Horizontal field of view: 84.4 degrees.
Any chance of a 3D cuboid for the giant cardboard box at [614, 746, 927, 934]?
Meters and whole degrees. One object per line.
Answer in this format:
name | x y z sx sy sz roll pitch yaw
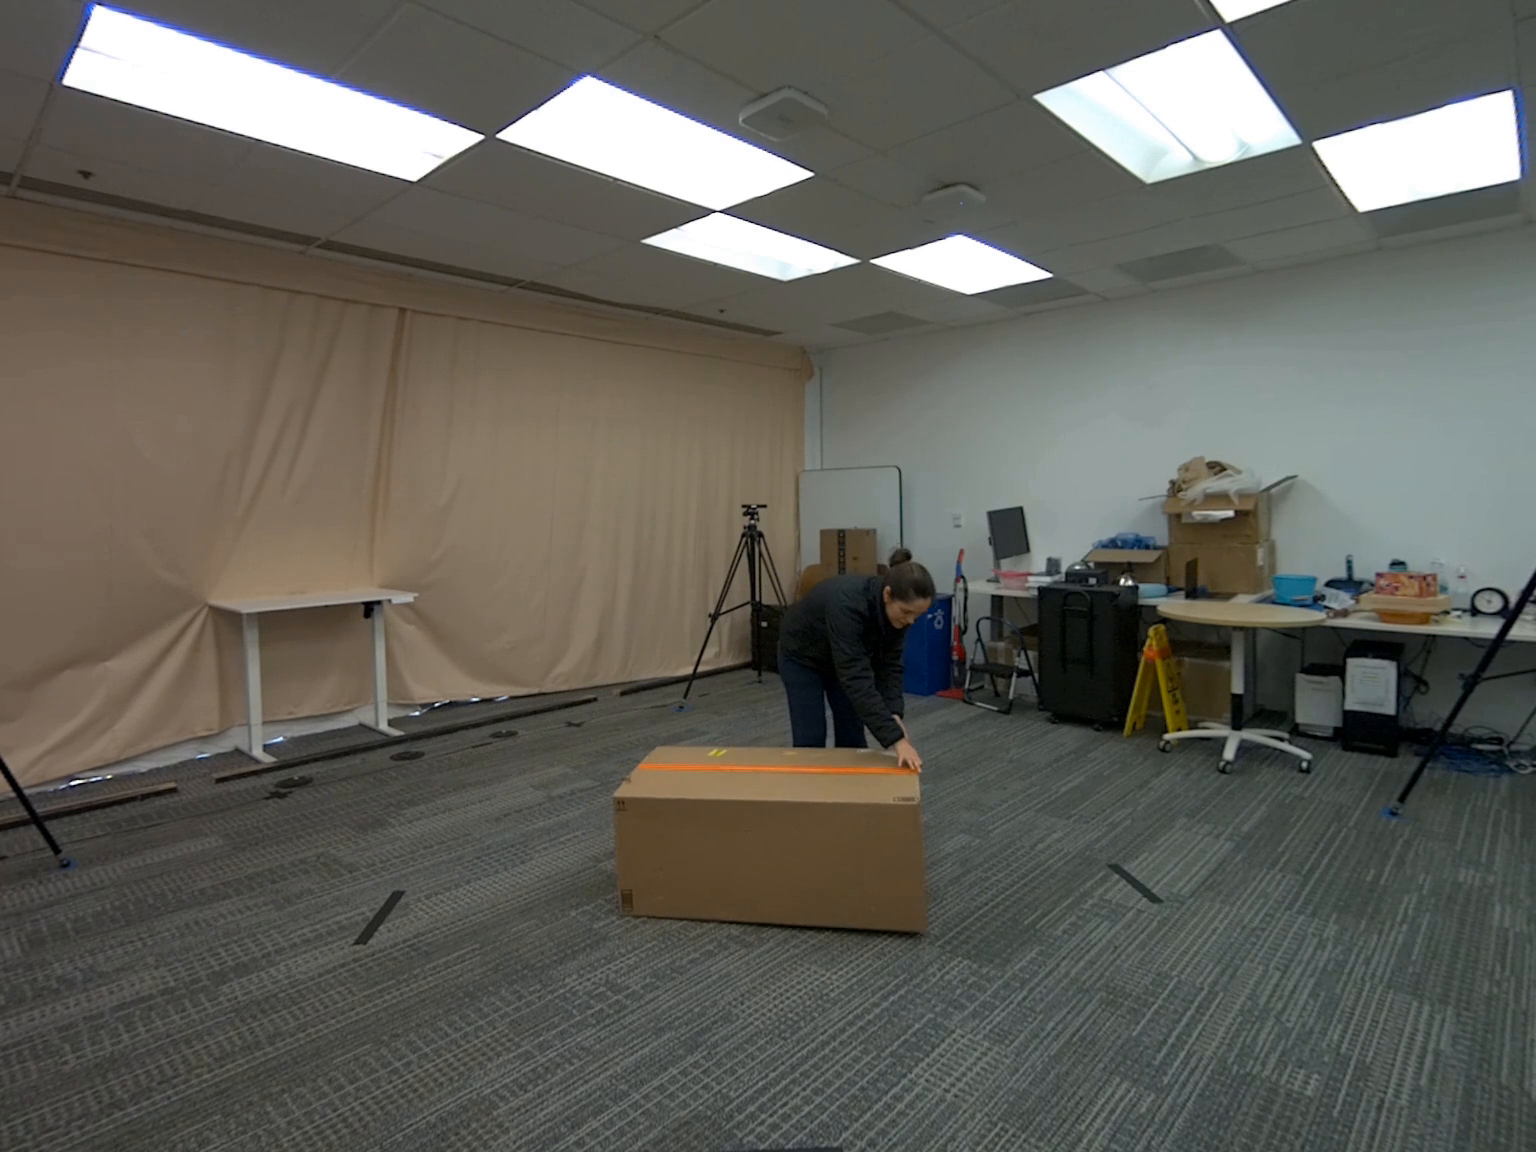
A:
giant cardboard box | 0.039 0.895 3.033 1.038 0.425 0.572 -2 4 11
